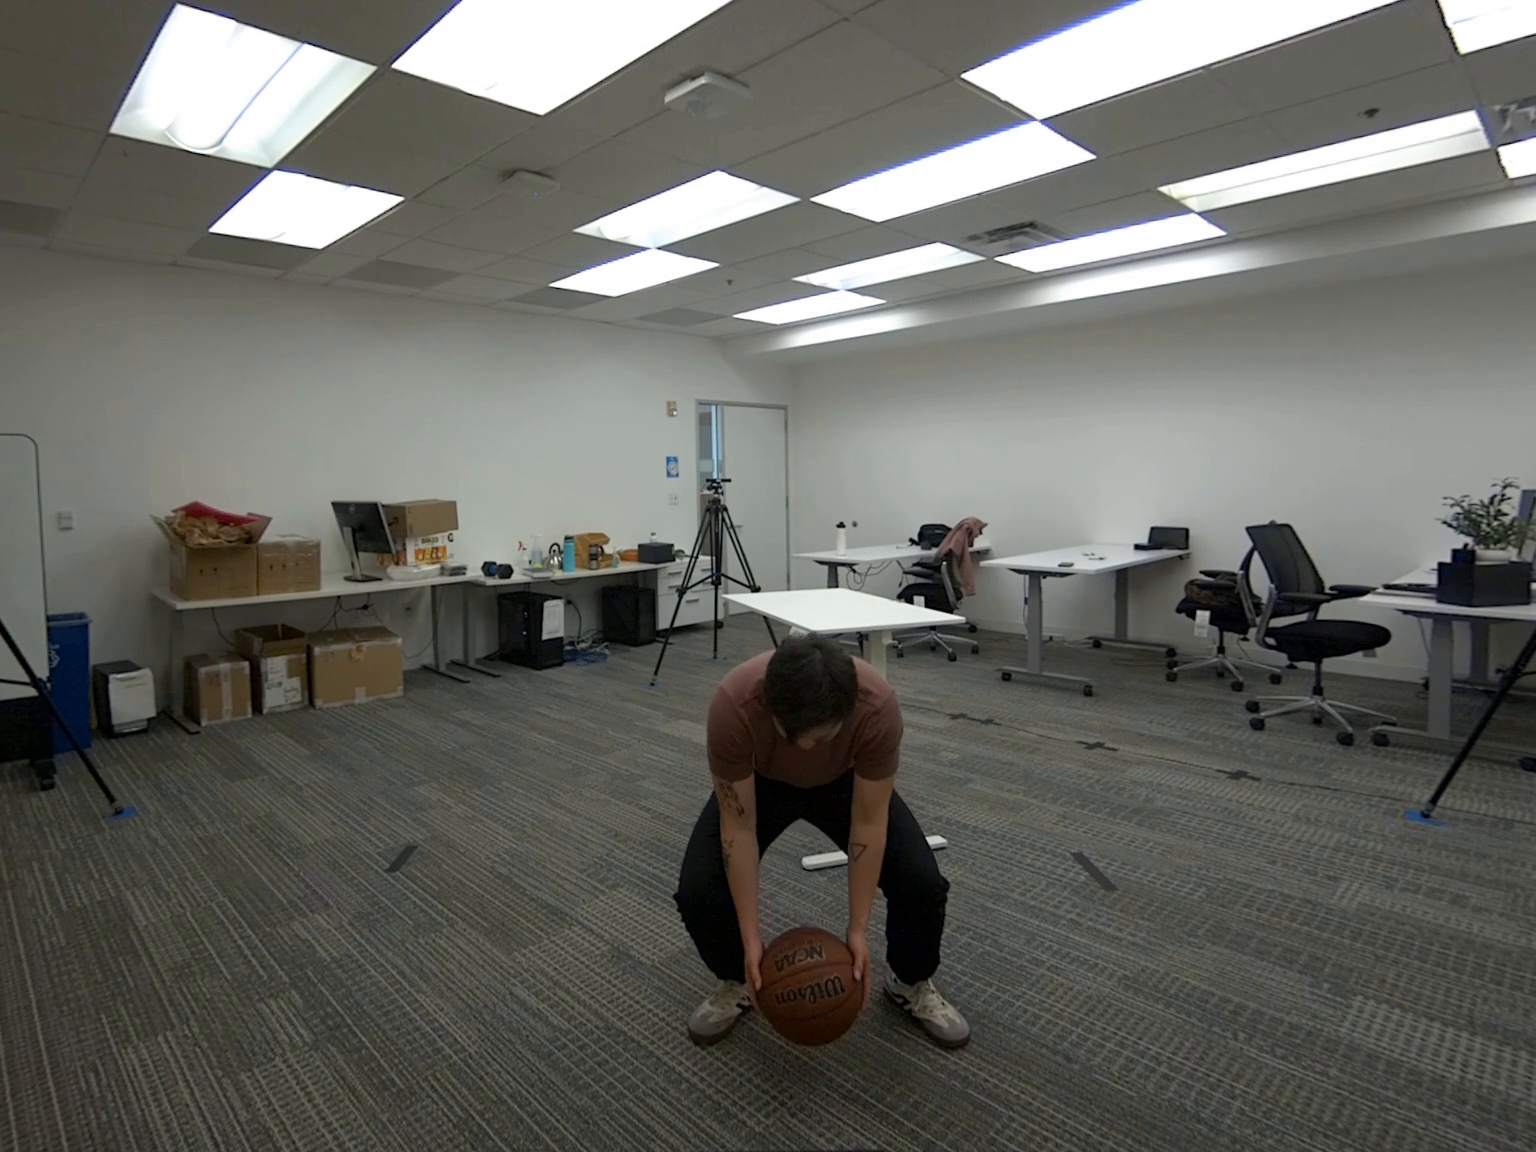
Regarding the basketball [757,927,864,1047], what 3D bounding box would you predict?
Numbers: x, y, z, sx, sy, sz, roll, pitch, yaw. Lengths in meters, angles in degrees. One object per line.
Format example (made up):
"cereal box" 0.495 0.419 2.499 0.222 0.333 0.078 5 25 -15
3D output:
"basketball" 0.102 0.901 1.901 0.236 0.235 0.237 -1 5 -2
